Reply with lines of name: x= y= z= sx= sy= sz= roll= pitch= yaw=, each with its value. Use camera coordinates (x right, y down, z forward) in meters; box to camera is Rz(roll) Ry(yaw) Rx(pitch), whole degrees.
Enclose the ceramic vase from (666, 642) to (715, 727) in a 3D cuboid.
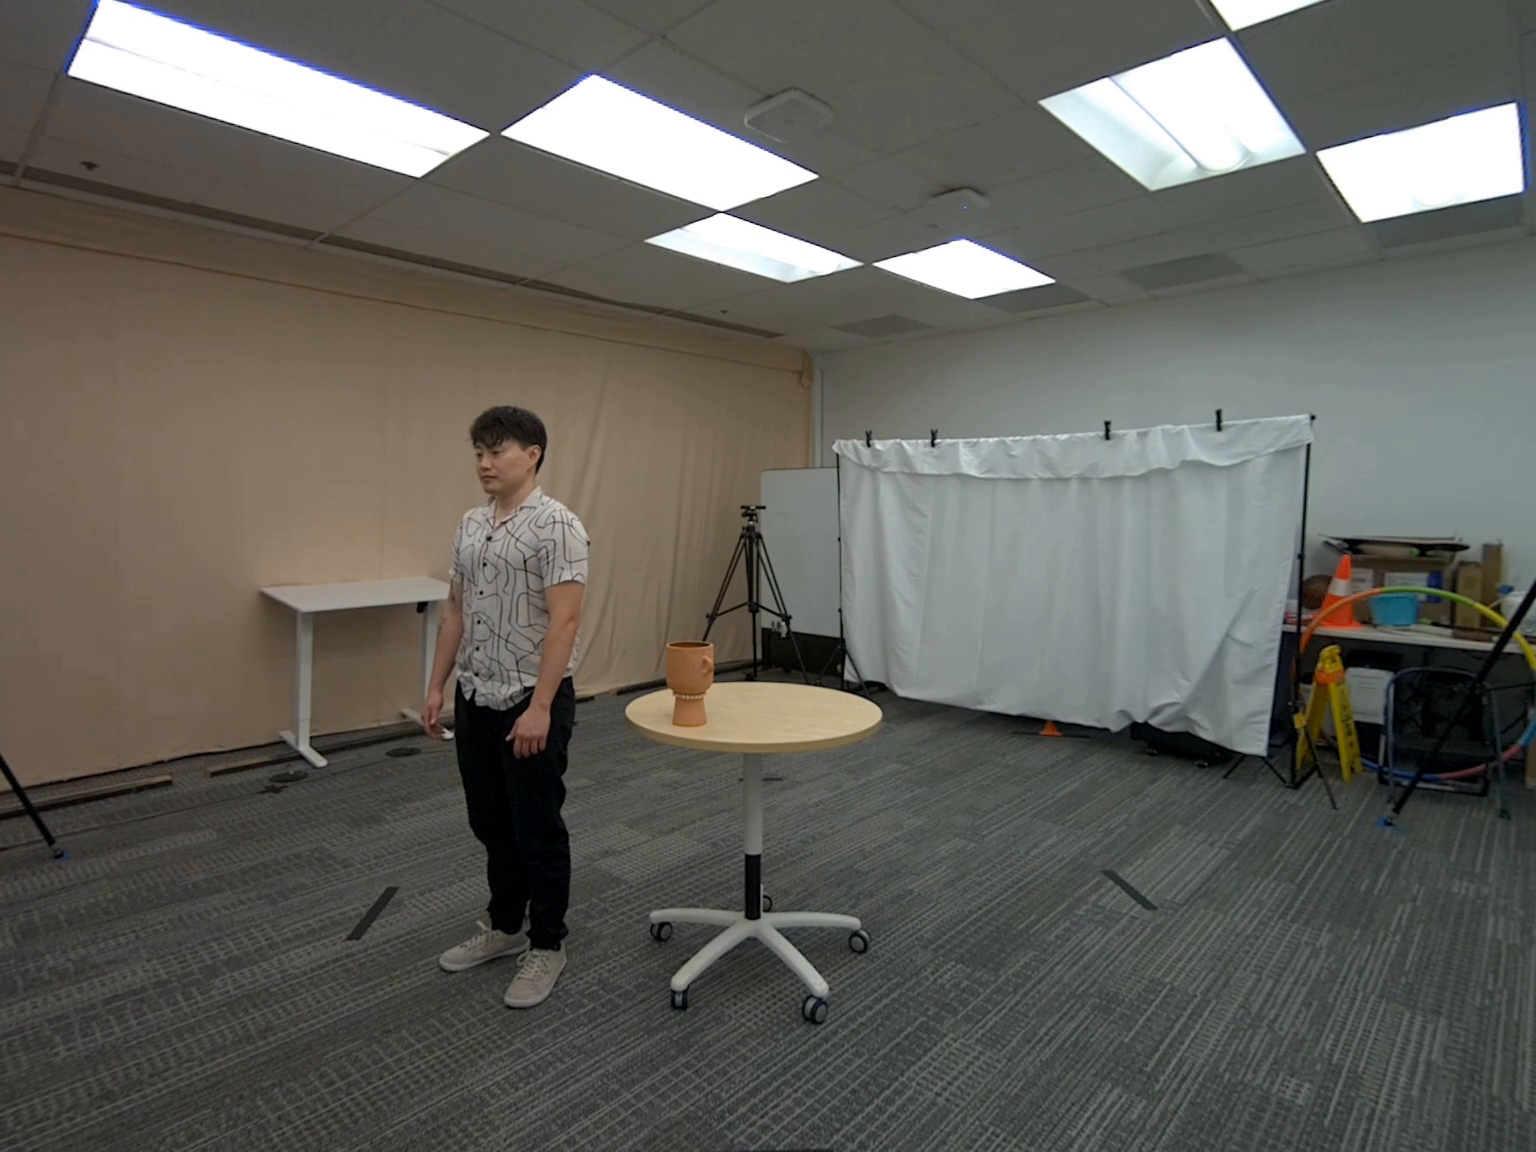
ceramic vase: x=-0.218 y=0.307 z=2.338 sx=0.134 sy=0.219 sz=0.159 roll=-1 pitch=4 yaw=-2
